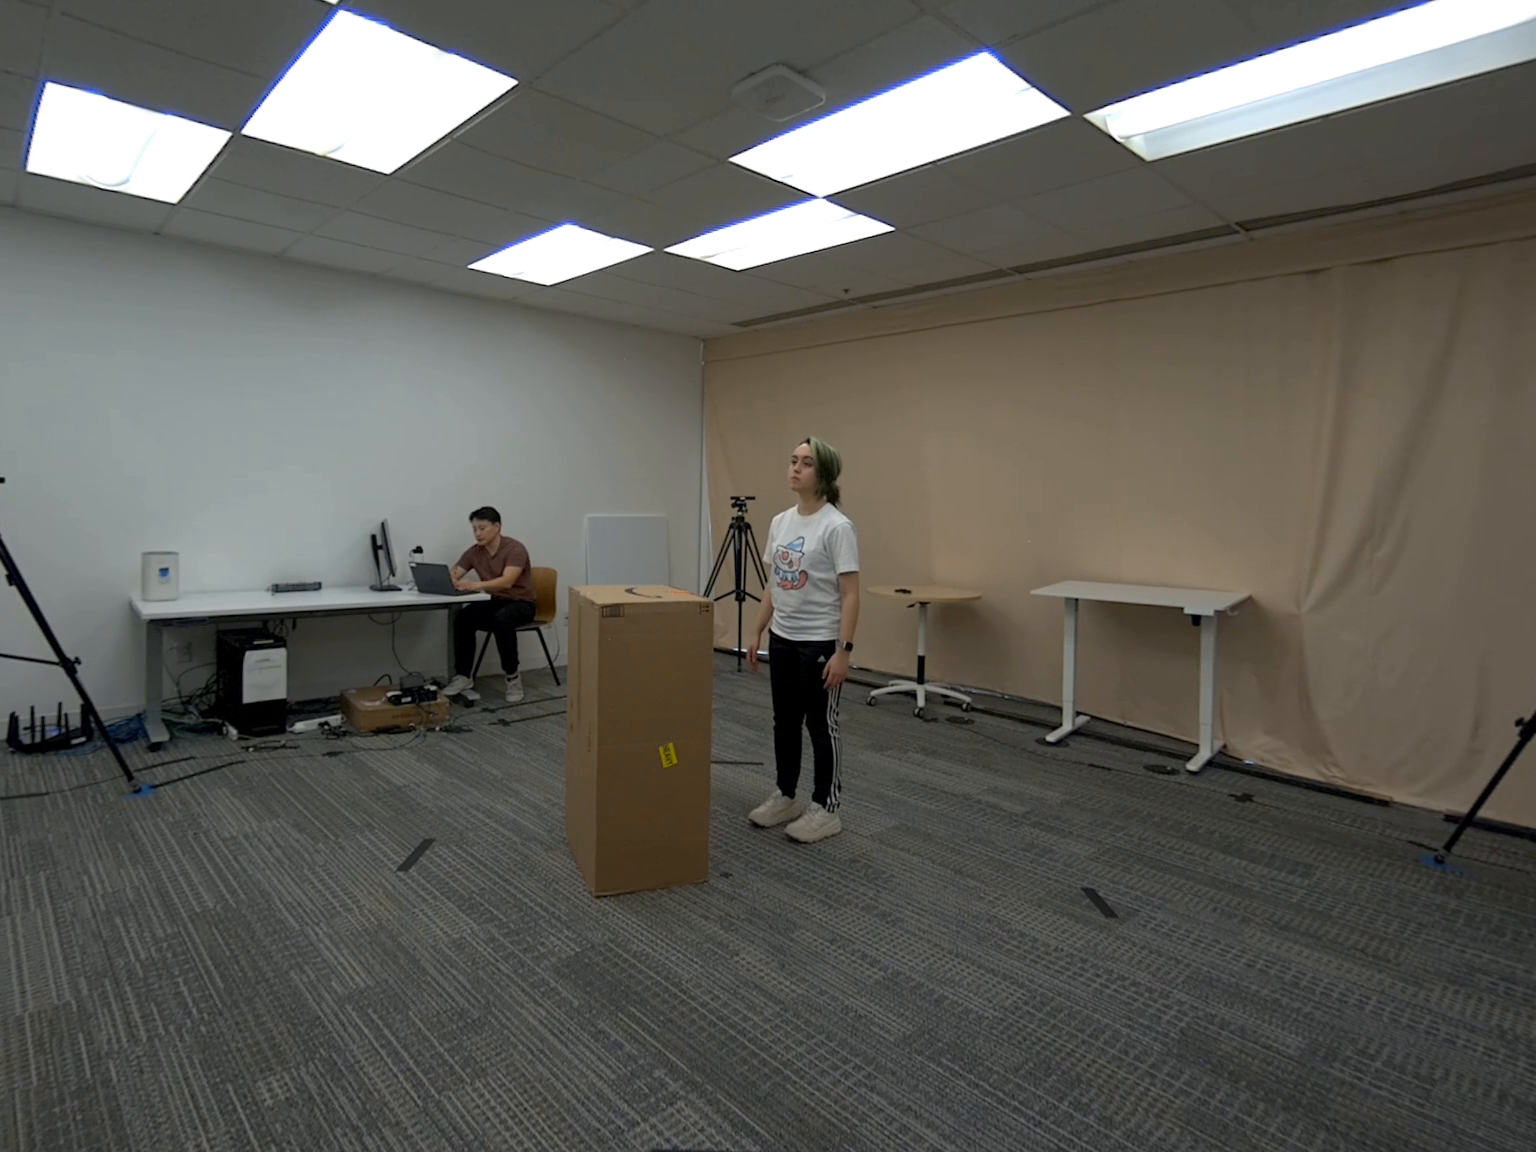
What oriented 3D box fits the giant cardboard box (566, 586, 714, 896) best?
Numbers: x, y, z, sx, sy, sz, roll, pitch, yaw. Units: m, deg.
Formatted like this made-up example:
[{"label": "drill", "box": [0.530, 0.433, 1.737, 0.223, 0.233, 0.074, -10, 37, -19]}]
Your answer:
[{"label": "giant cardboard box", "box": [-0.516, 0.576, 3.216, 0.419, 1.023, 0.588, 0, 3, -23]}]
